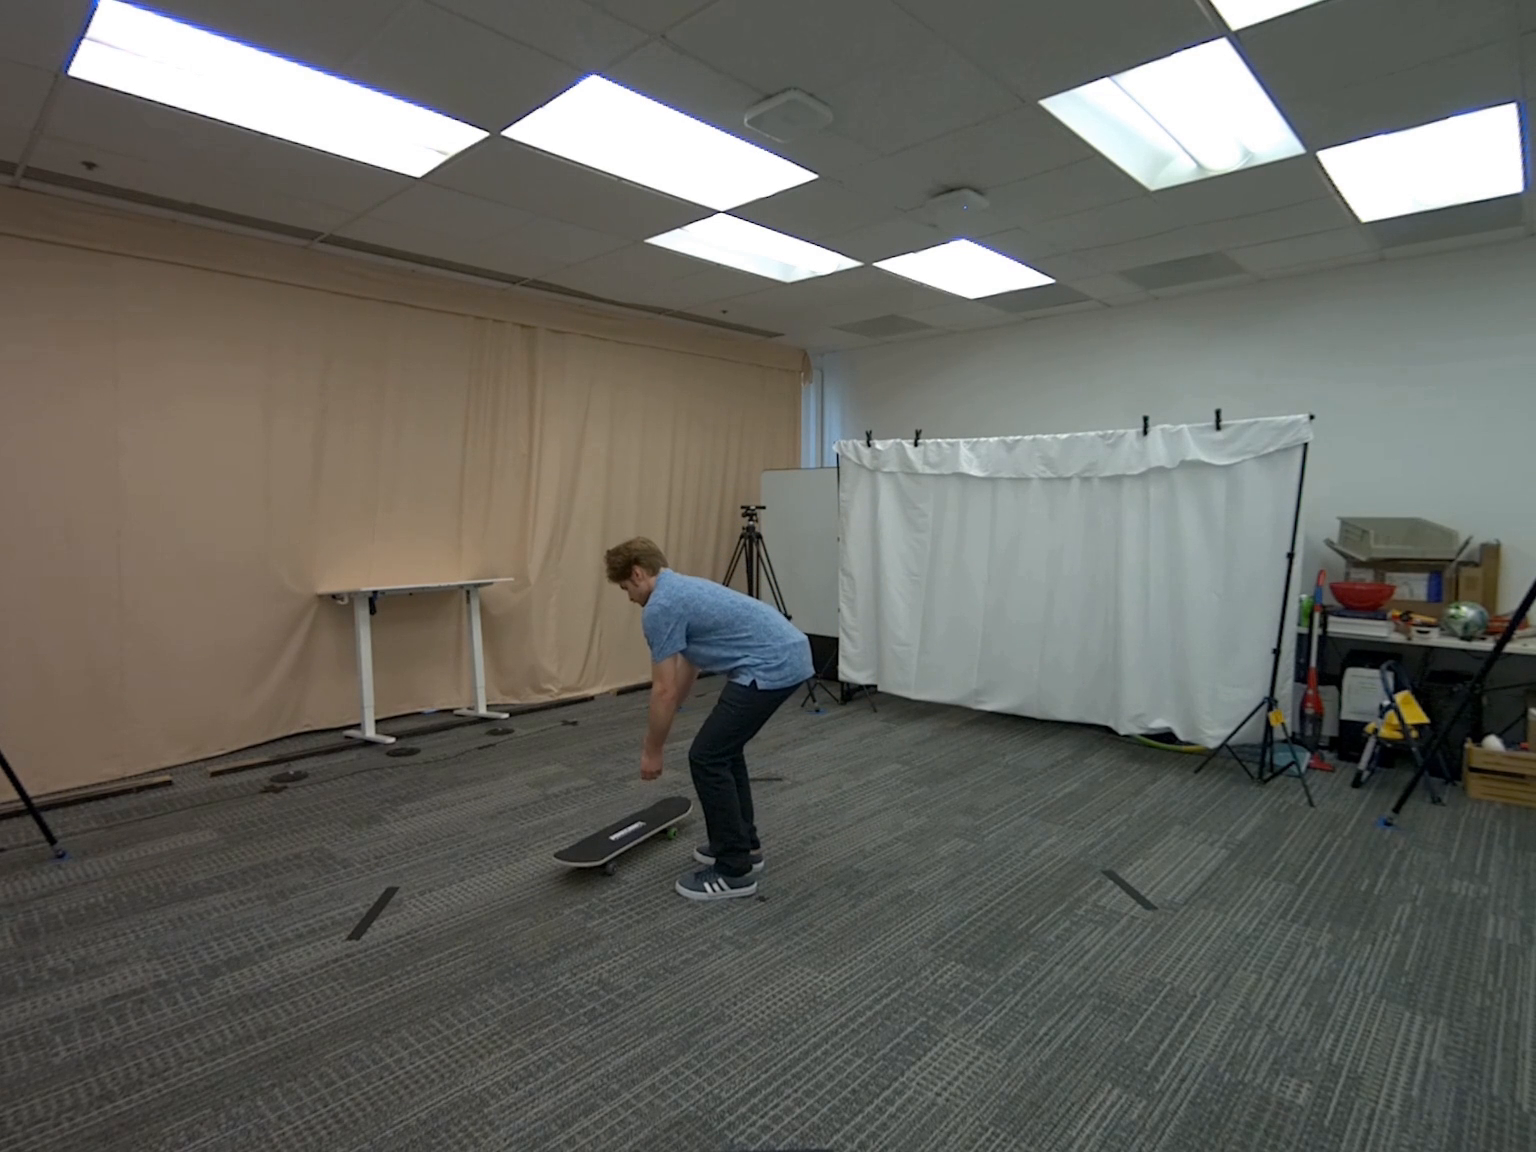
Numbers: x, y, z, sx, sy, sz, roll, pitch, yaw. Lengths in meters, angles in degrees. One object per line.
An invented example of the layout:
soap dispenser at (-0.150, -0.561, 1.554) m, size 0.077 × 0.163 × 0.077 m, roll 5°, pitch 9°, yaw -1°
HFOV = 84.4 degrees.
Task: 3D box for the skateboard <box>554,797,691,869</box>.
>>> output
skateboard at (-0.567, 1.058, 3.392) m, size 0.199 × 0.110 × 0.765 m, roll 2°, pitch 5°, yaw 29°
